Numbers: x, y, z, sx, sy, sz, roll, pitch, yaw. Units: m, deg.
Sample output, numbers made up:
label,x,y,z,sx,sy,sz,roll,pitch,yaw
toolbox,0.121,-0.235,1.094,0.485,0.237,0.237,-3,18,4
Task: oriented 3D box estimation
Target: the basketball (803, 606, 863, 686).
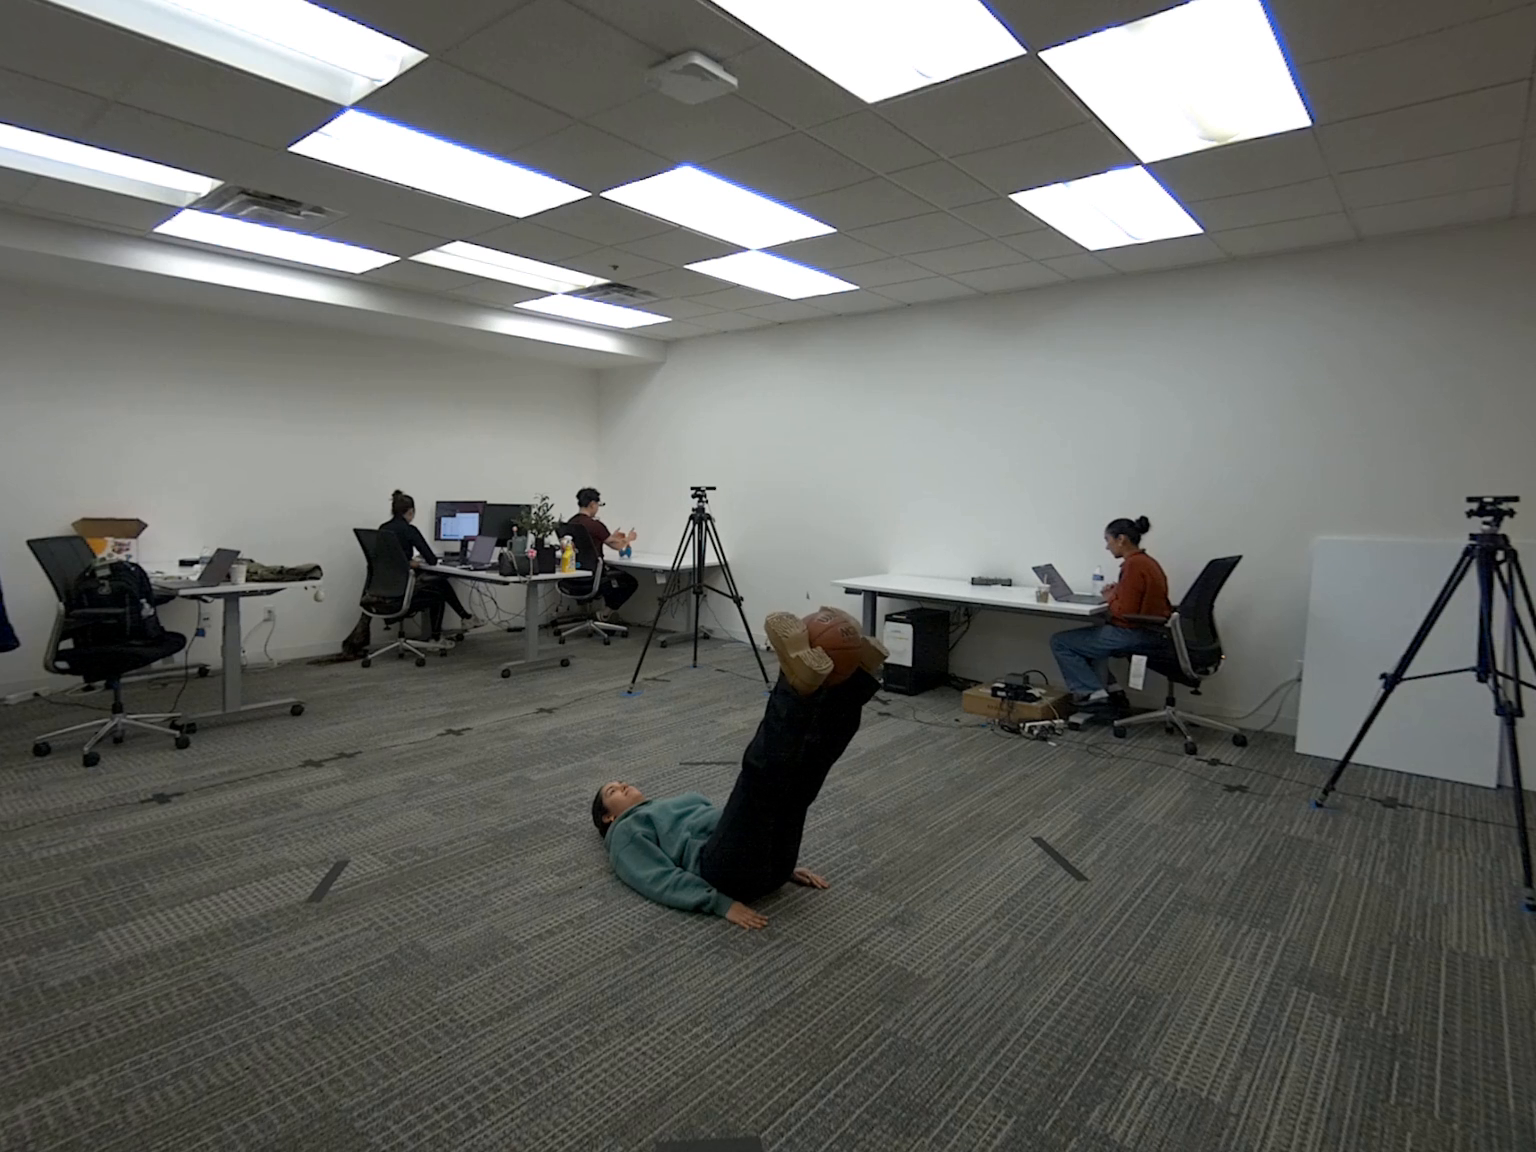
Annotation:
label,x,y,z,sx,sy,sz,roll,pitch,yaw
basketball,0.181,0.230,2.720,0.236,0.235,0.237,0,4,-2
